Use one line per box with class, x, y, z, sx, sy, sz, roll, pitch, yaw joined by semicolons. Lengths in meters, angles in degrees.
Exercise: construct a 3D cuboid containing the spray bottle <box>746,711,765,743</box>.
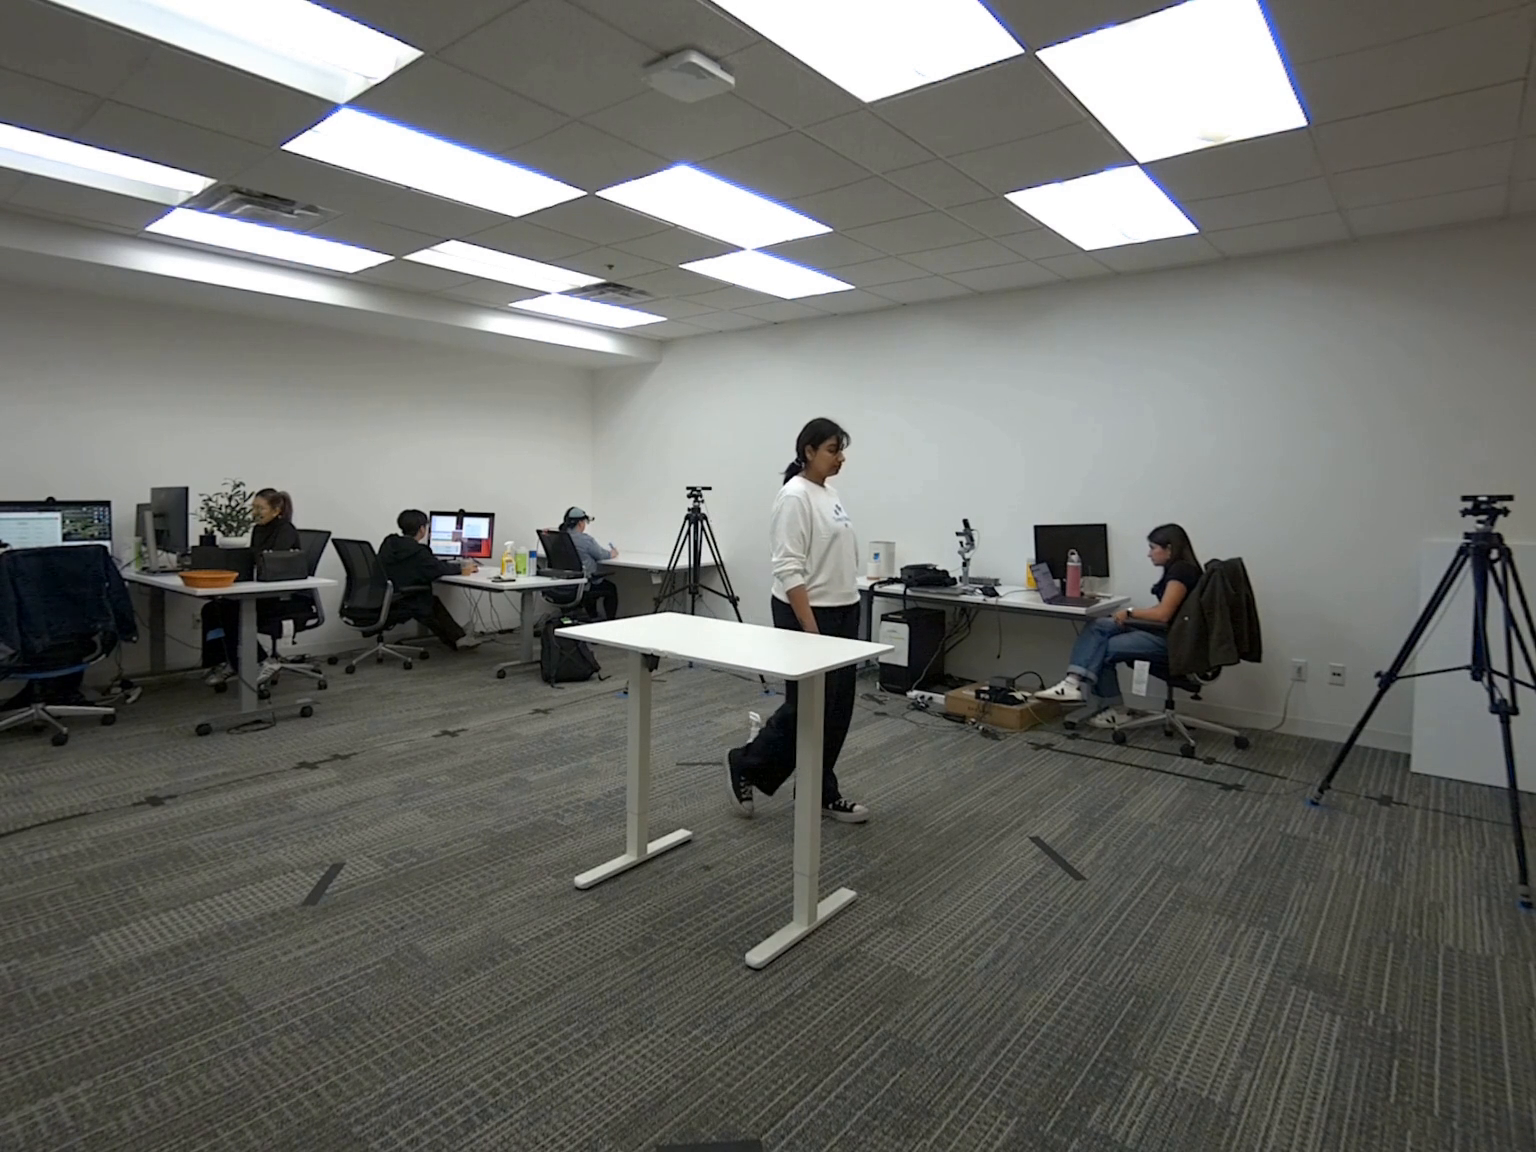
spray bottle;-0.059;0.818;4.143;0.086;0.297;0.091;0;1;-6
